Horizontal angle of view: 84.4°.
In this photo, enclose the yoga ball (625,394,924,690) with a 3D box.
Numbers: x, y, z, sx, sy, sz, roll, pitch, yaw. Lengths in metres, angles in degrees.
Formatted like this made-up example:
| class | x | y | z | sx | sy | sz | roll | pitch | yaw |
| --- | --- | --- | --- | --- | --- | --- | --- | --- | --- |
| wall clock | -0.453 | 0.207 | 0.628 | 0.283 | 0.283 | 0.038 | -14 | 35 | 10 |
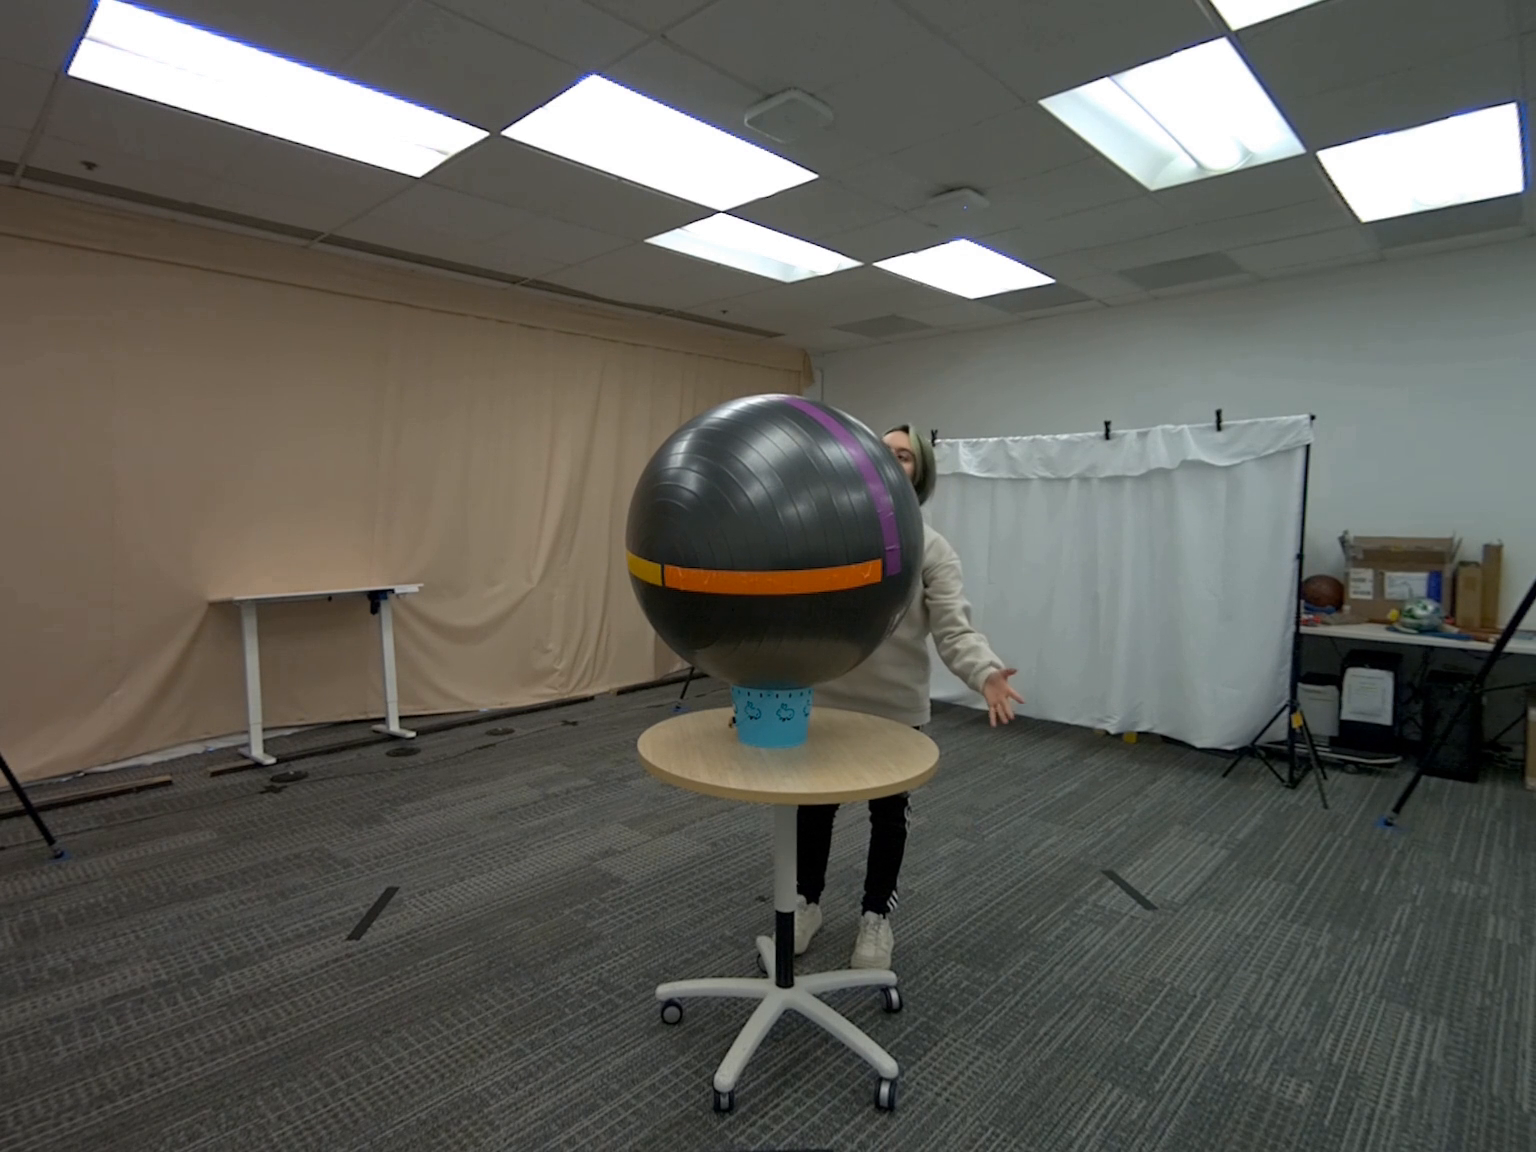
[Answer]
| class | x | y | z | sx | sy | sz | roll | pitch | yaw |
| --- | --- | --- | --- | --- | --- | --- | --- | --- | --- |
| yoga ball | 0.009 | -0.083 | 2.170 | 0.757 | 0.756 | 0.760 | 0 | 4 | -2 |
